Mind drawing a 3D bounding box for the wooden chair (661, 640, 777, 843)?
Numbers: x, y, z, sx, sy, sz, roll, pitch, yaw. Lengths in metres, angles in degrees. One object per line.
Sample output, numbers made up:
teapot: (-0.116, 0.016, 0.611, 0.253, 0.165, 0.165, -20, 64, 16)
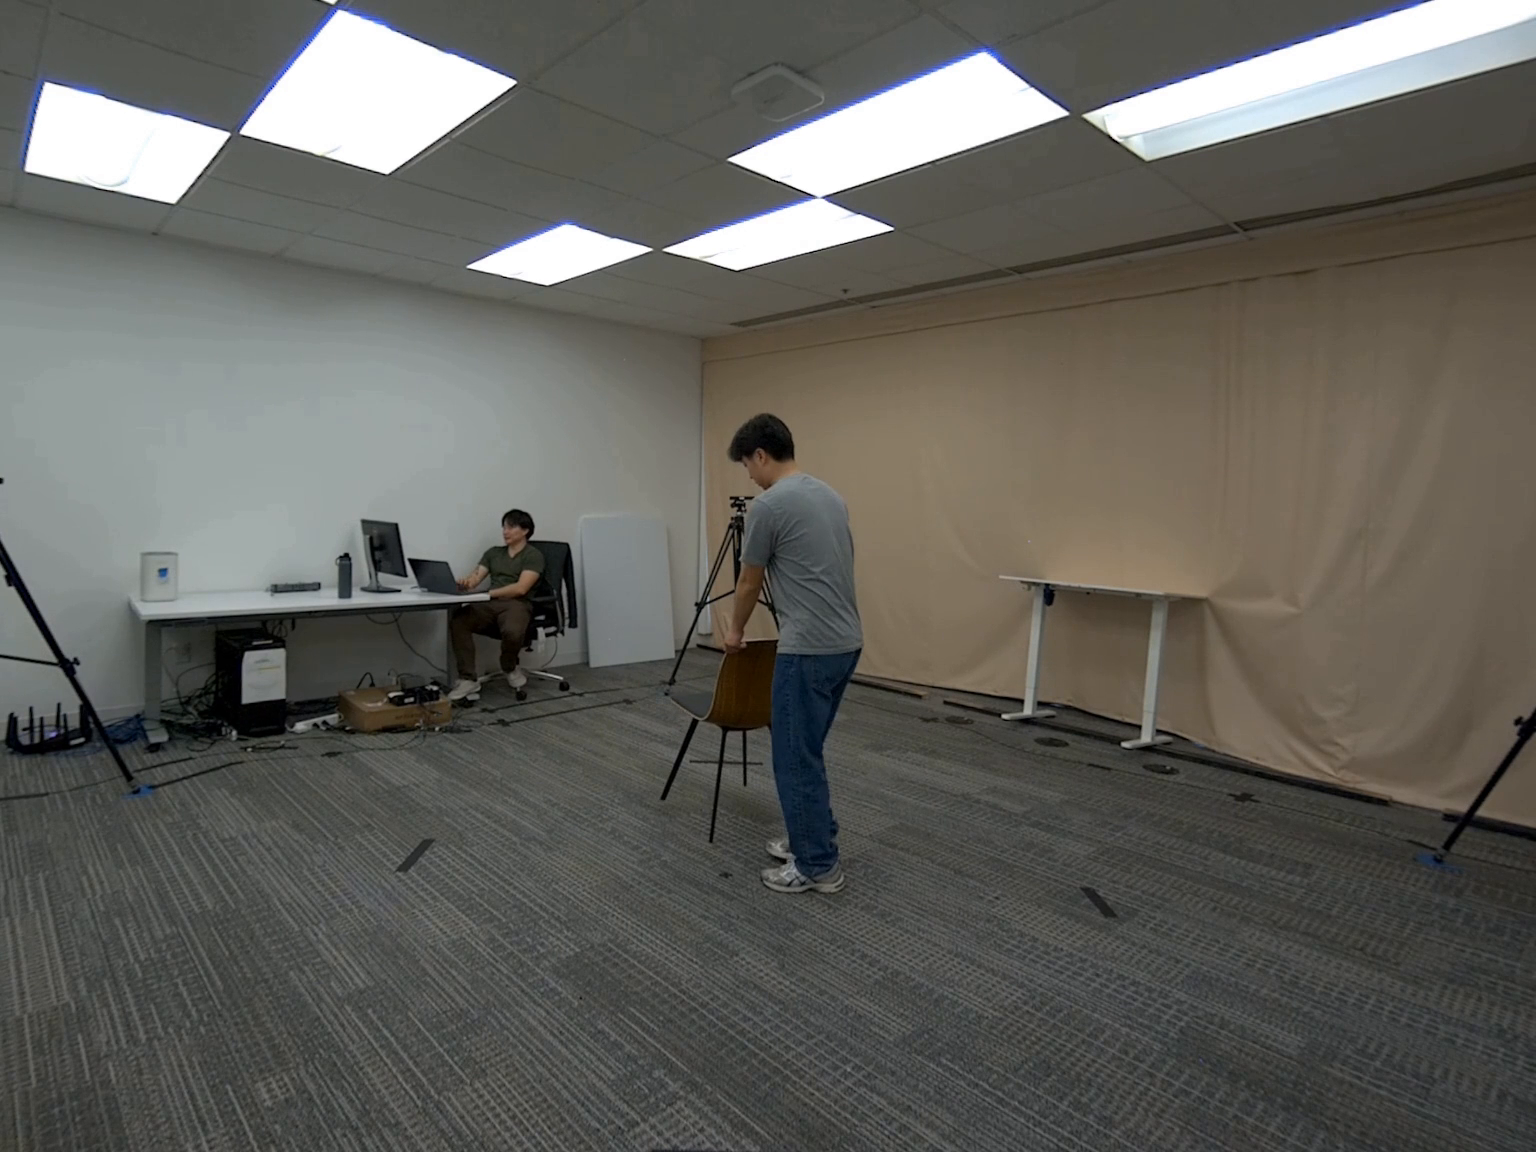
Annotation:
wooden chair: (-0.155, 0.612, 3.643, 0.468, 0.871, 0.538, 0, 13, -33)
